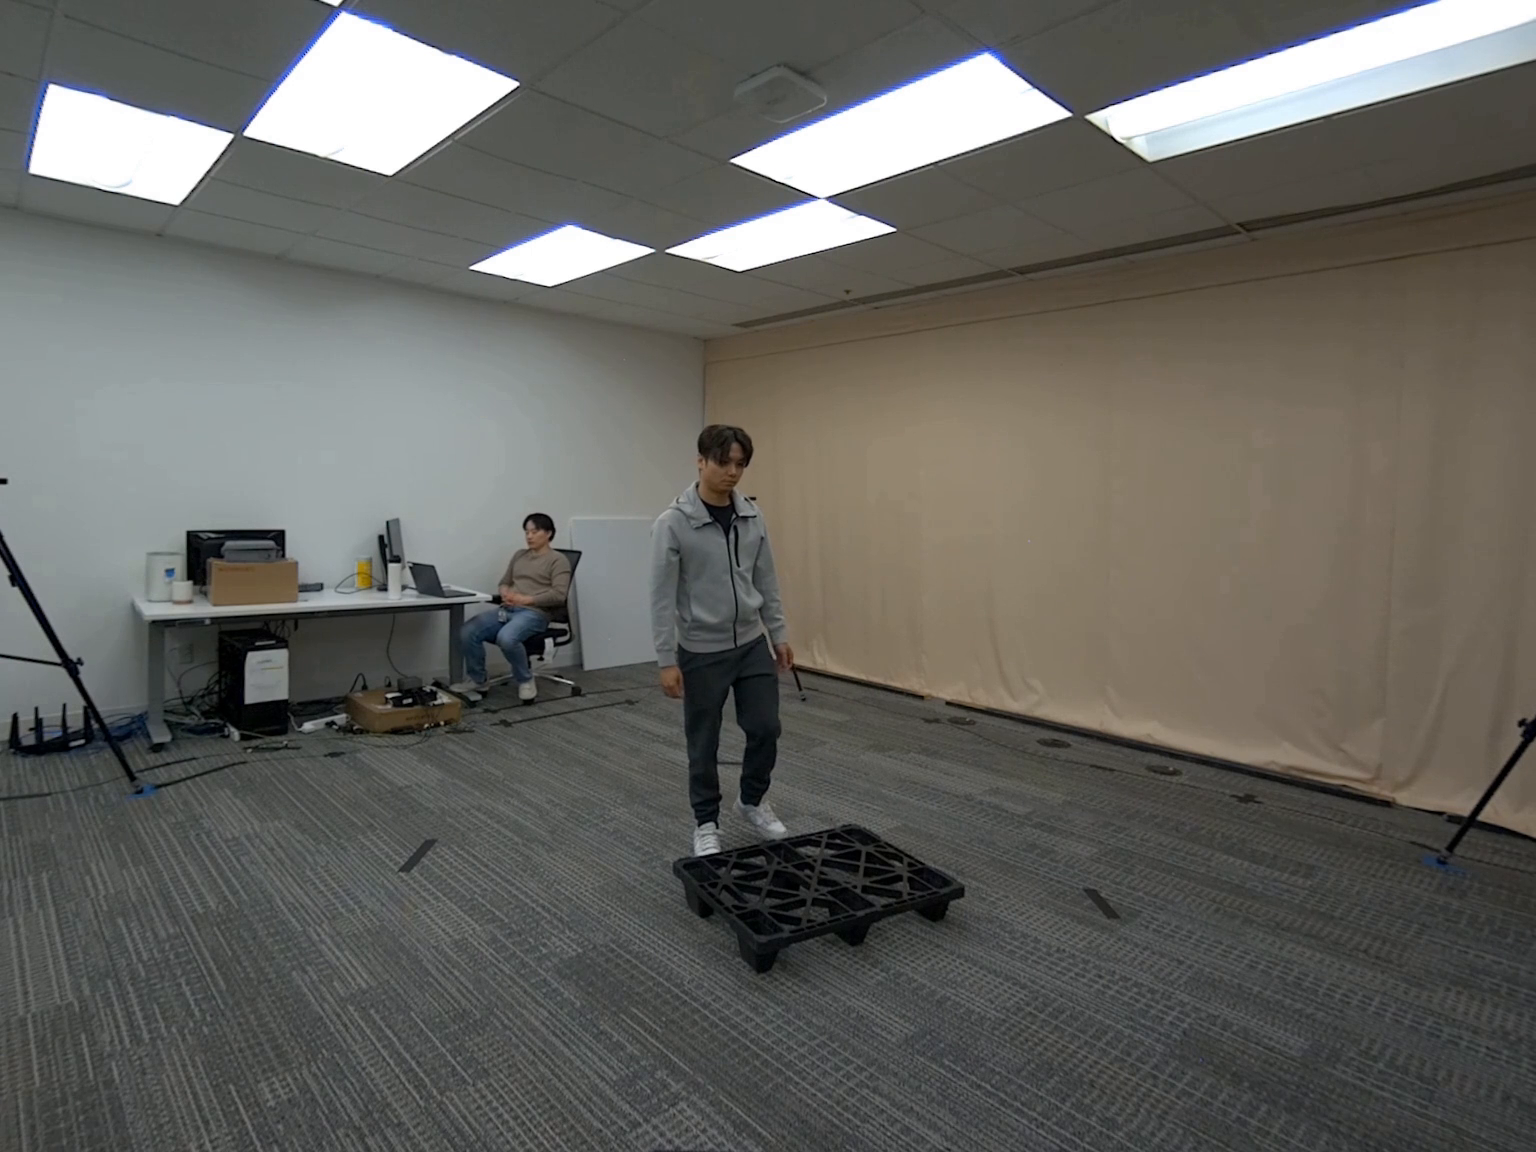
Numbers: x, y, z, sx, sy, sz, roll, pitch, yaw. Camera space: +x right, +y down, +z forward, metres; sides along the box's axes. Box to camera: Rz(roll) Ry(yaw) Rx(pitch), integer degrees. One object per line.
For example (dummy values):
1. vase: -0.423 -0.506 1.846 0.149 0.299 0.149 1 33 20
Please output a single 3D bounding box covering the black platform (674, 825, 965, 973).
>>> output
1. black platform: 0.148 1.072 2.842 0.789 0.143 0.619 -2 5 -30
